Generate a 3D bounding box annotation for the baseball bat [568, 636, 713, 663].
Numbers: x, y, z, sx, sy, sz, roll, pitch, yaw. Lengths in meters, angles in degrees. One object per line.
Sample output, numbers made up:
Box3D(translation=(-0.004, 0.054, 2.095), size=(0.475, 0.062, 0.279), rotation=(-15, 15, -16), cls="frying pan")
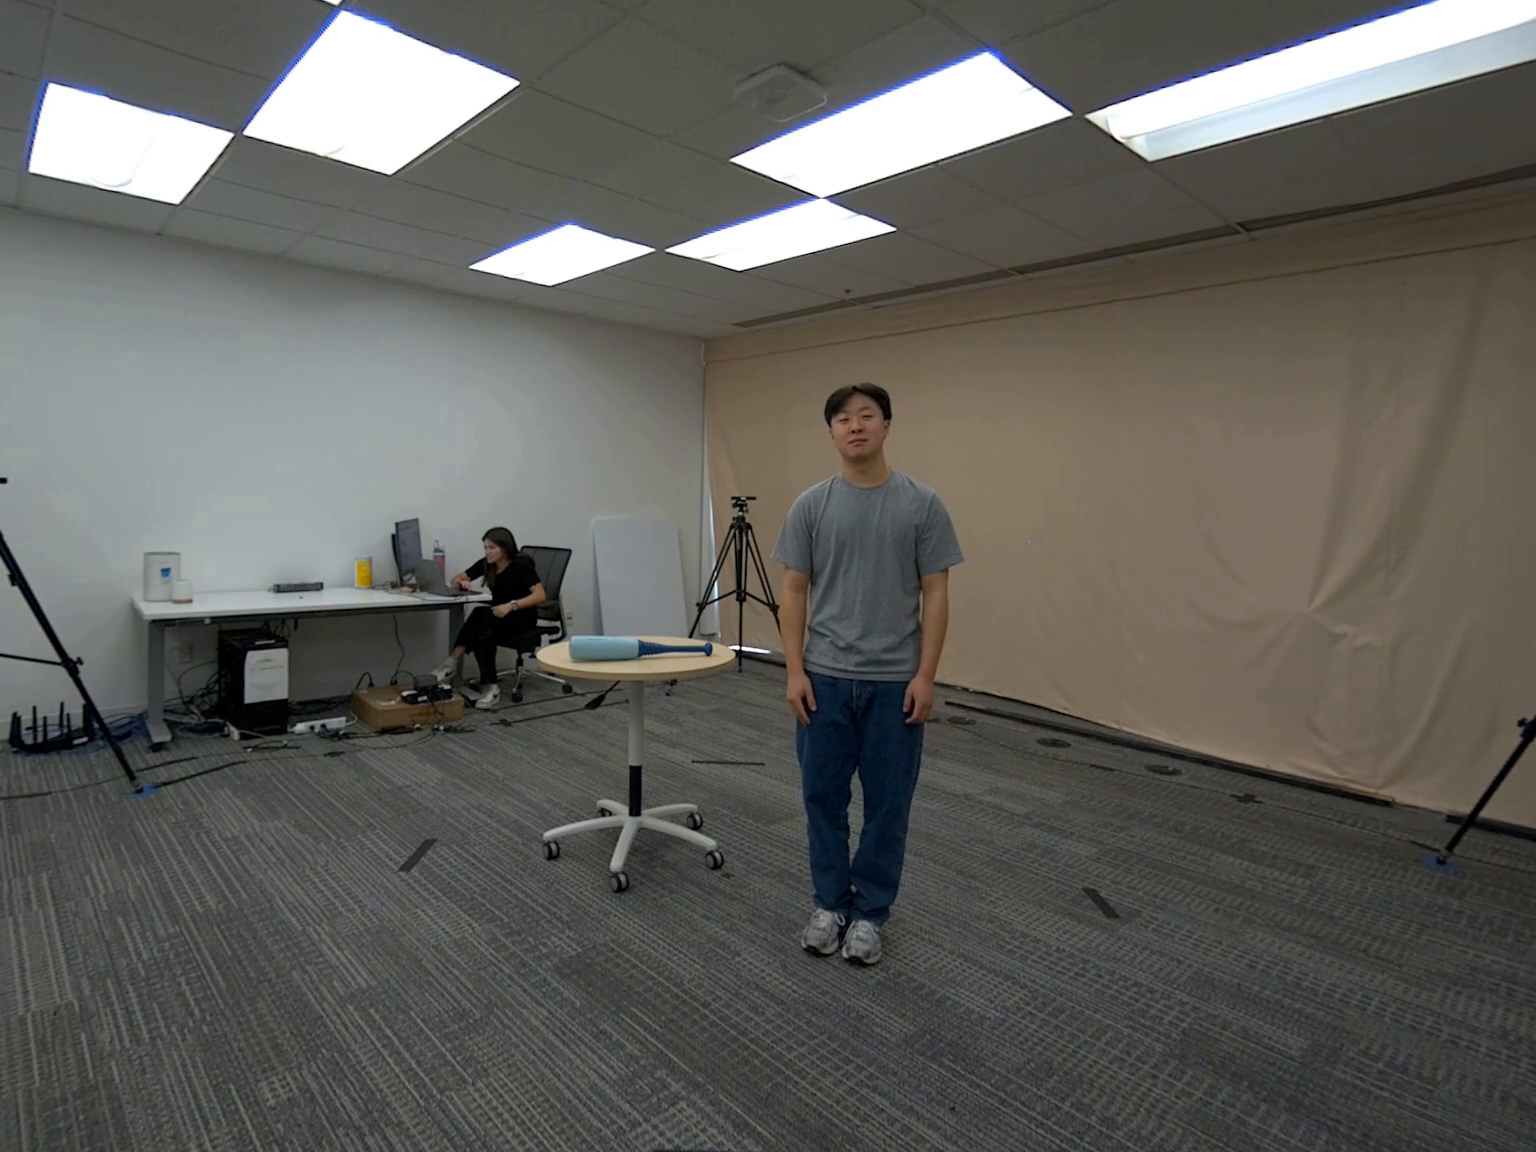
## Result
Box3D(translation=(-0.476, 0.273, 3.152), size=(0.535, 0.089, 0.090), rotation=(2, 4, -18), cls="baseball bat")
